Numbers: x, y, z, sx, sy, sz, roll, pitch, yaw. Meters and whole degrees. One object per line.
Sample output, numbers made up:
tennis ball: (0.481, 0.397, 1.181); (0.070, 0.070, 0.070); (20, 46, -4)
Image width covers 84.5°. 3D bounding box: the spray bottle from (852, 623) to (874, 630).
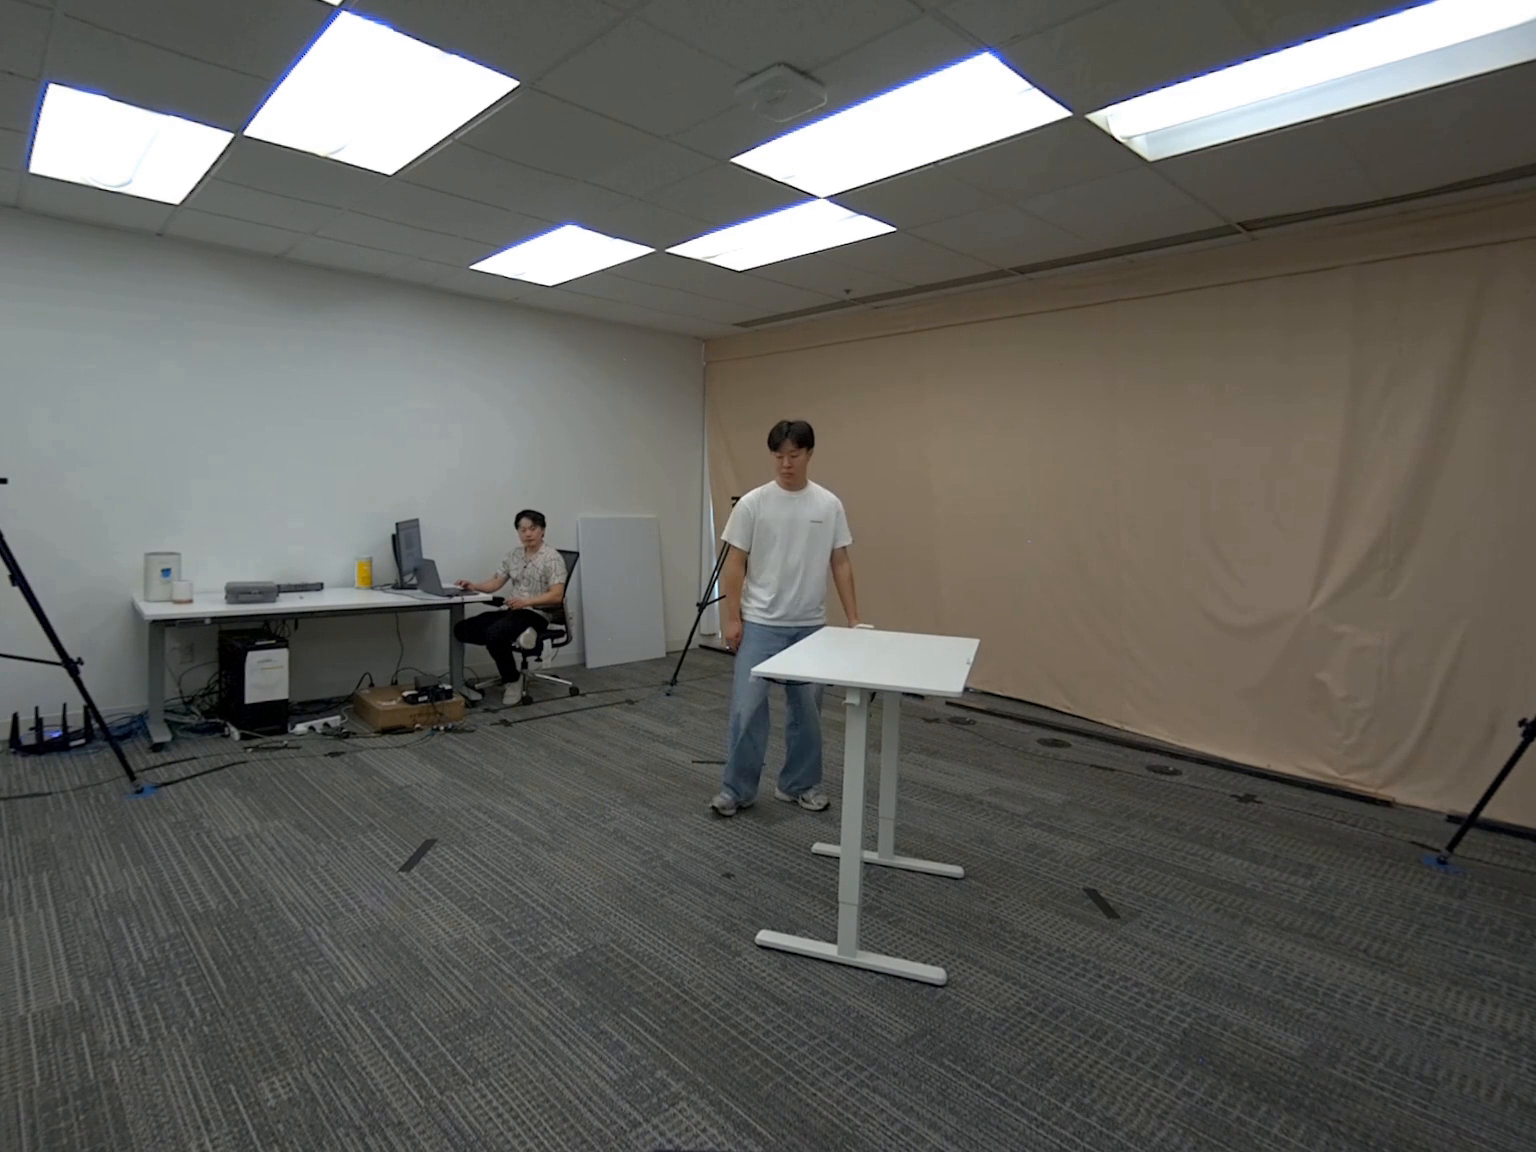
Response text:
spray bottle: (0.393, 0.352, 3.744); (0.093, 0.292, 0.086); (20, 33, 41)
